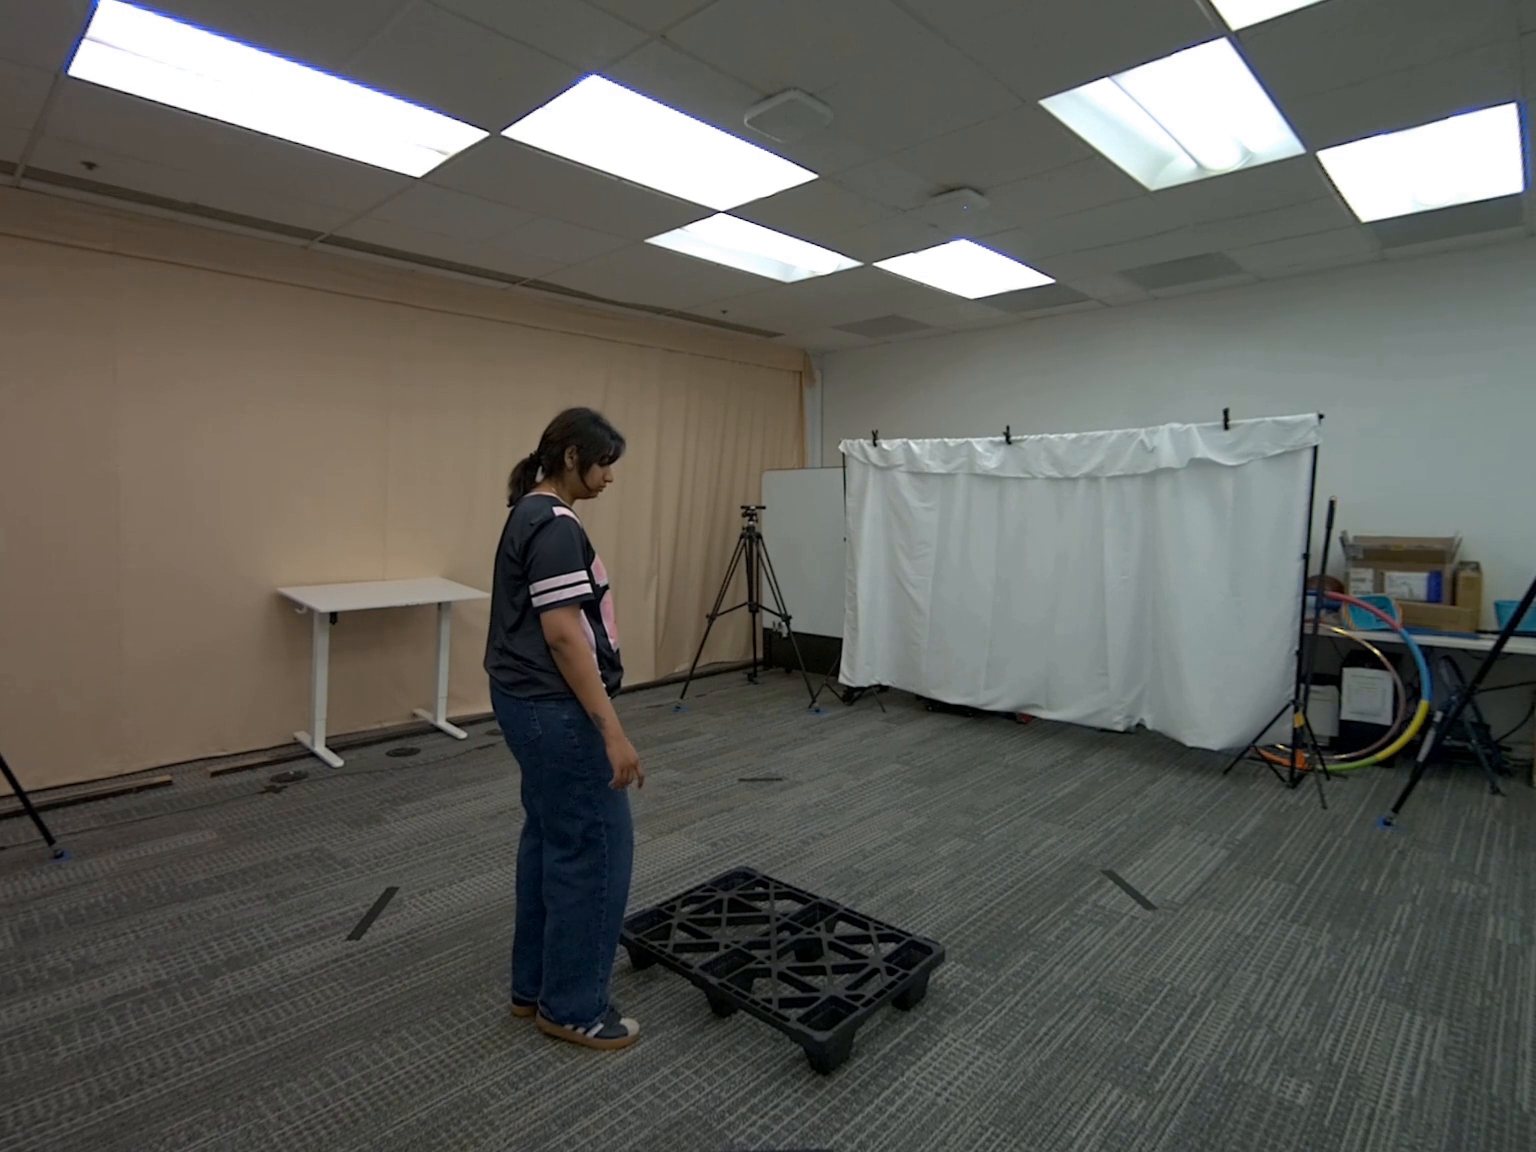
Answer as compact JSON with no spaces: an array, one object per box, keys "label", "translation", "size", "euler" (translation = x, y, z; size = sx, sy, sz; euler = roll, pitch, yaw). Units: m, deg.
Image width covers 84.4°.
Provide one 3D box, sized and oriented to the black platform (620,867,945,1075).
[{"label":"black platform","translation":[0.020,1.119,2.473],"size":[0.832,0.143,0.586],"euler":[5,6,42]}]
